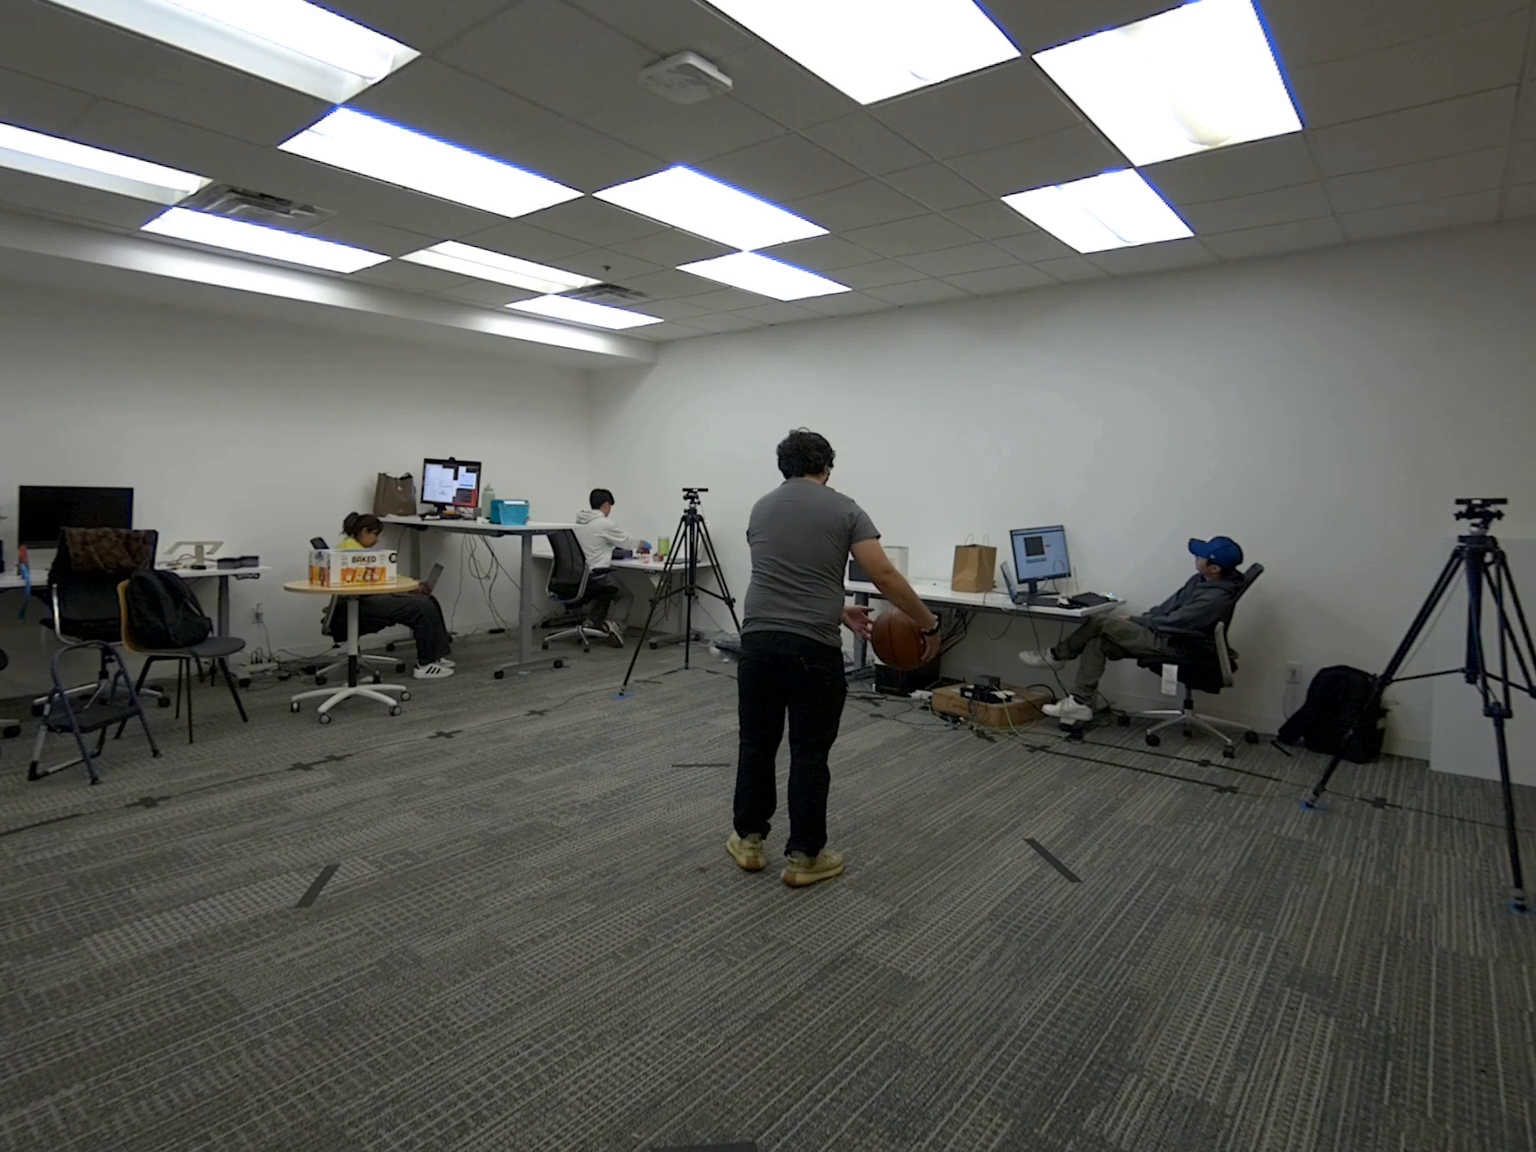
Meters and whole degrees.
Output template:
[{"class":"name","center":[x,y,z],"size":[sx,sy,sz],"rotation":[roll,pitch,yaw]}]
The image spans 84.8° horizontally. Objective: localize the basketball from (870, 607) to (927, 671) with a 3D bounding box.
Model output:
[{"class":"basketball","center":[0.489,0.229,3.161],"size":[0.235,0.235,0.237],"rotation":[1,4,-2]}]
